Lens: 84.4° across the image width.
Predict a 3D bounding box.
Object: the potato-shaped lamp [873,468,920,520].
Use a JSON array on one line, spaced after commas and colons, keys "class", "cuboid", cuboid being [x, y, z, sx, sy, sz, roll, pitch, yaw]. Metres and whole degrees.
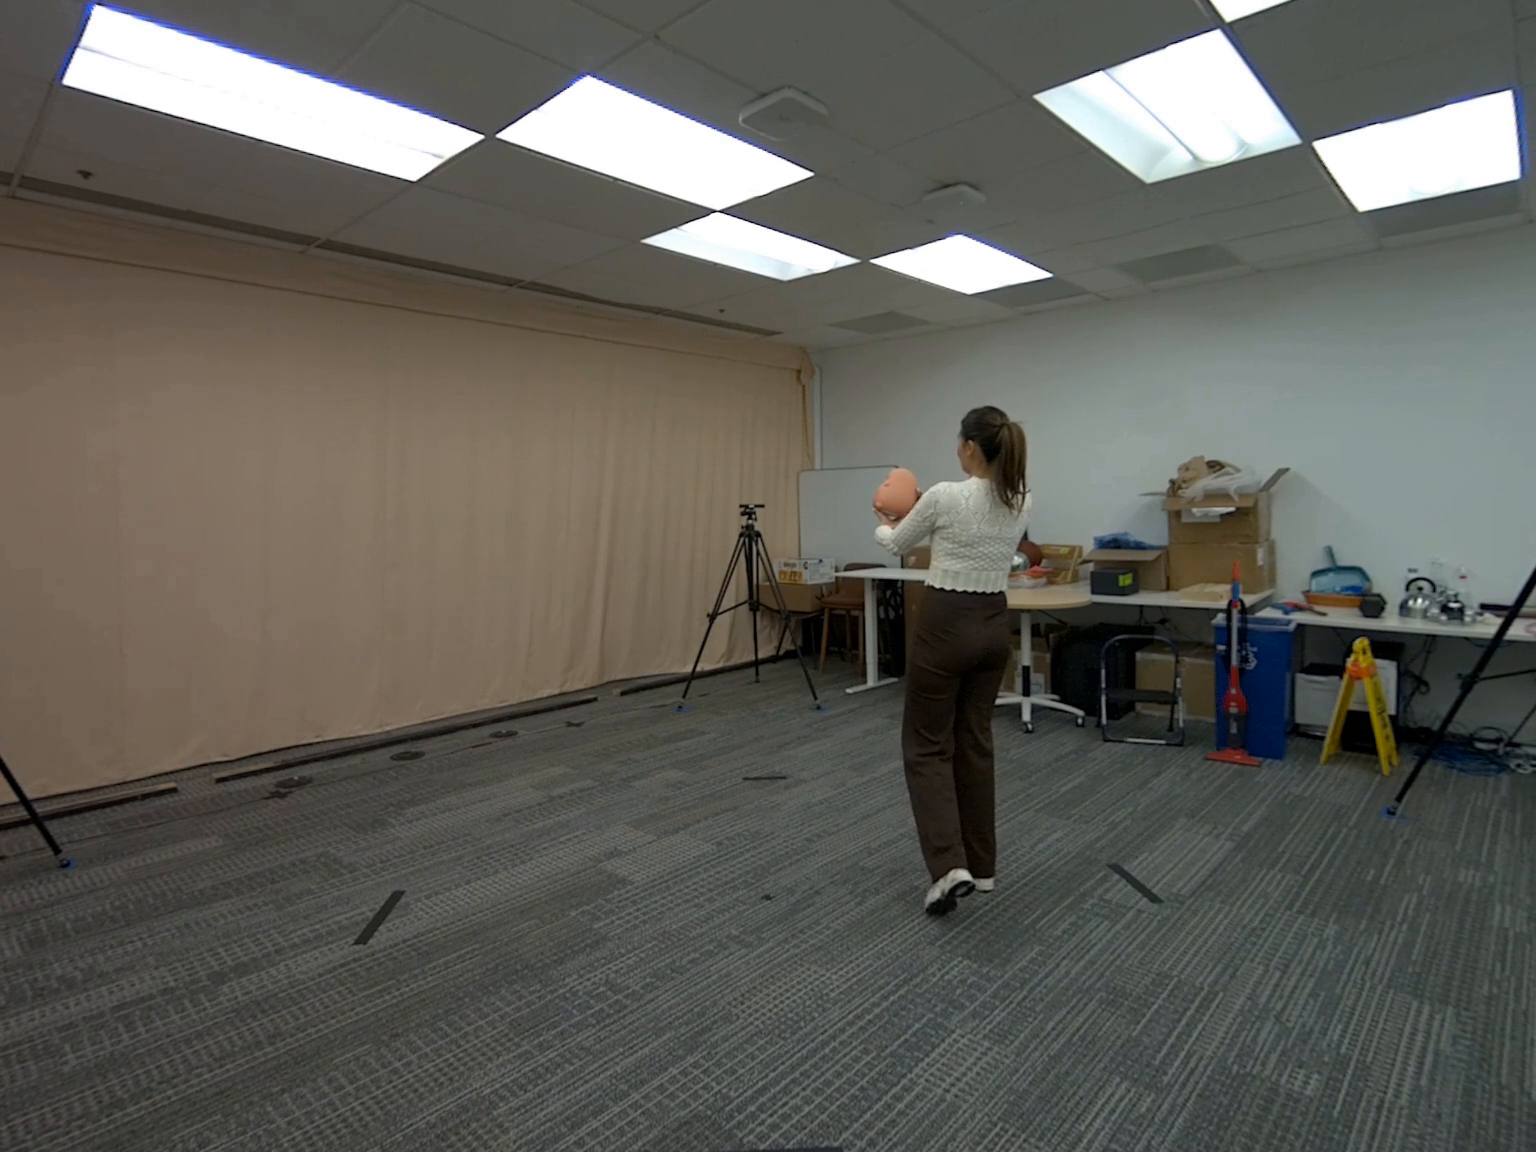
[{"class": "potato-shaped lamp", "cuboid": [0.532, -0.345, 3.447, 0.173, 0.198, 0.163, 17, -4, 5]}]
